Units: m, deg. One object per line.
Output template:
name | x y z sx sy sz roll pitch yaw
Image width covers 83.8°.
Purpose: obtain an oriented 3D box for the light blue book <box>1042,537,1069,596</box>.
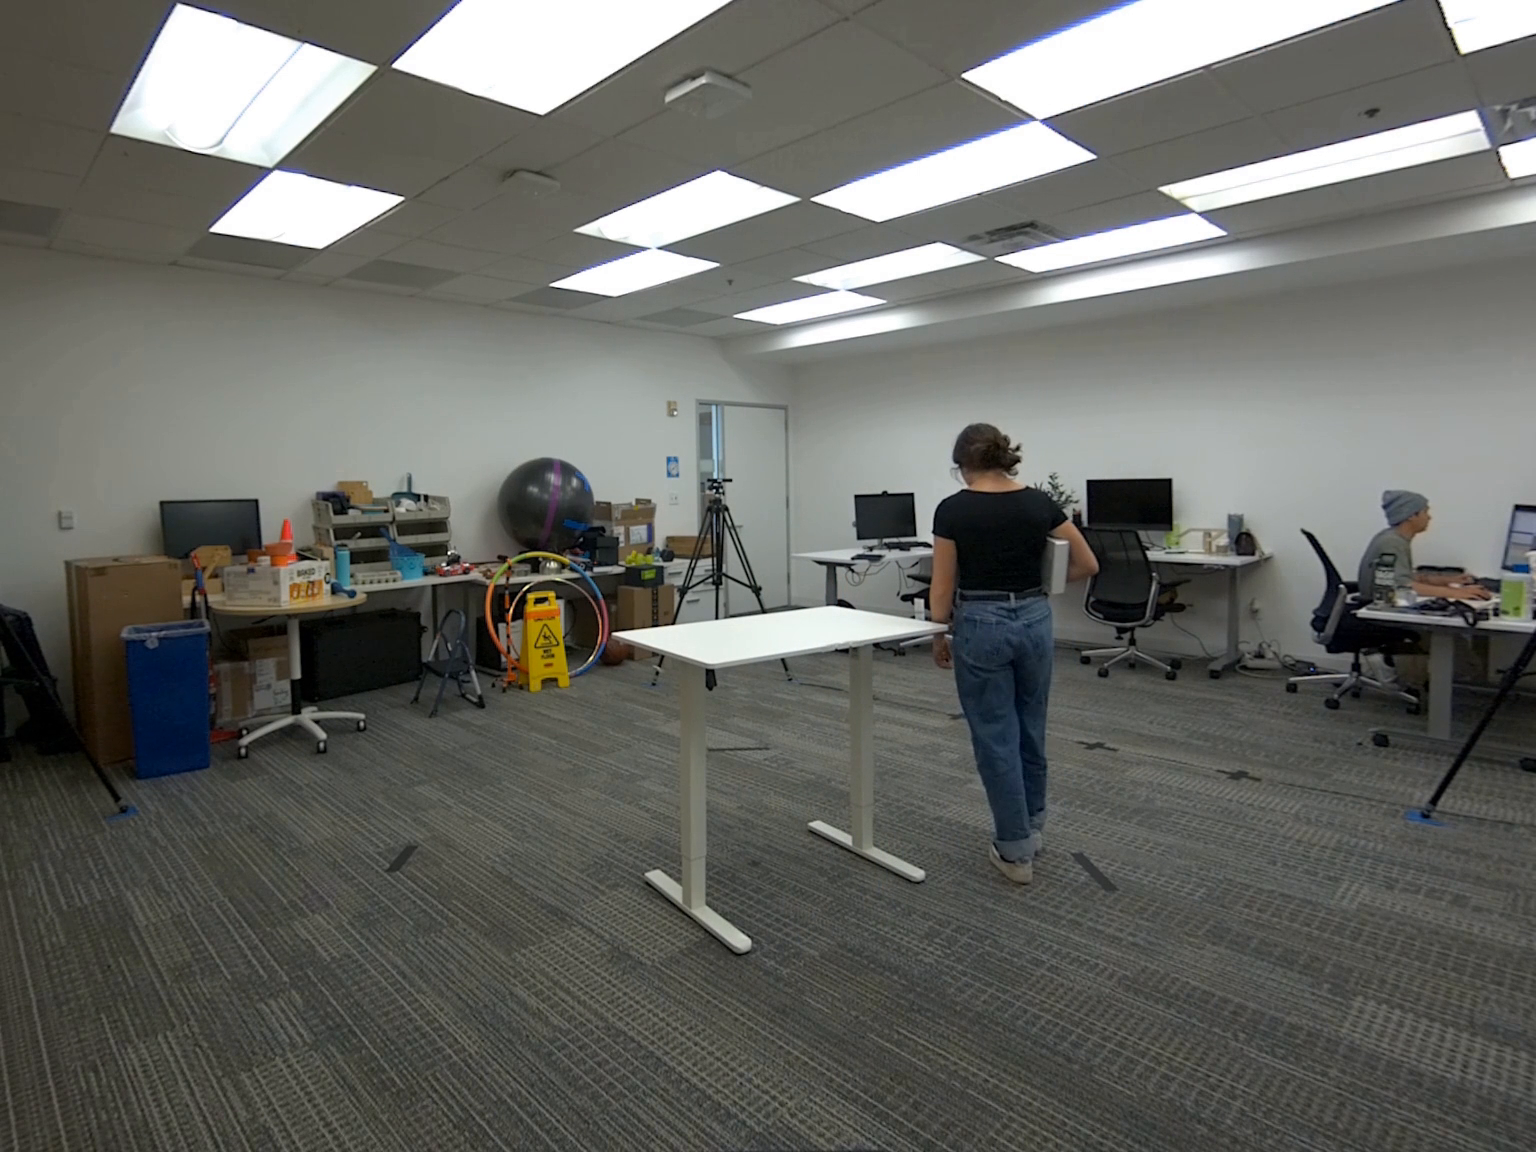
light blue book | 0.952 -0.075 3.031 0.058 0.188 0.269 -7 23 -18
